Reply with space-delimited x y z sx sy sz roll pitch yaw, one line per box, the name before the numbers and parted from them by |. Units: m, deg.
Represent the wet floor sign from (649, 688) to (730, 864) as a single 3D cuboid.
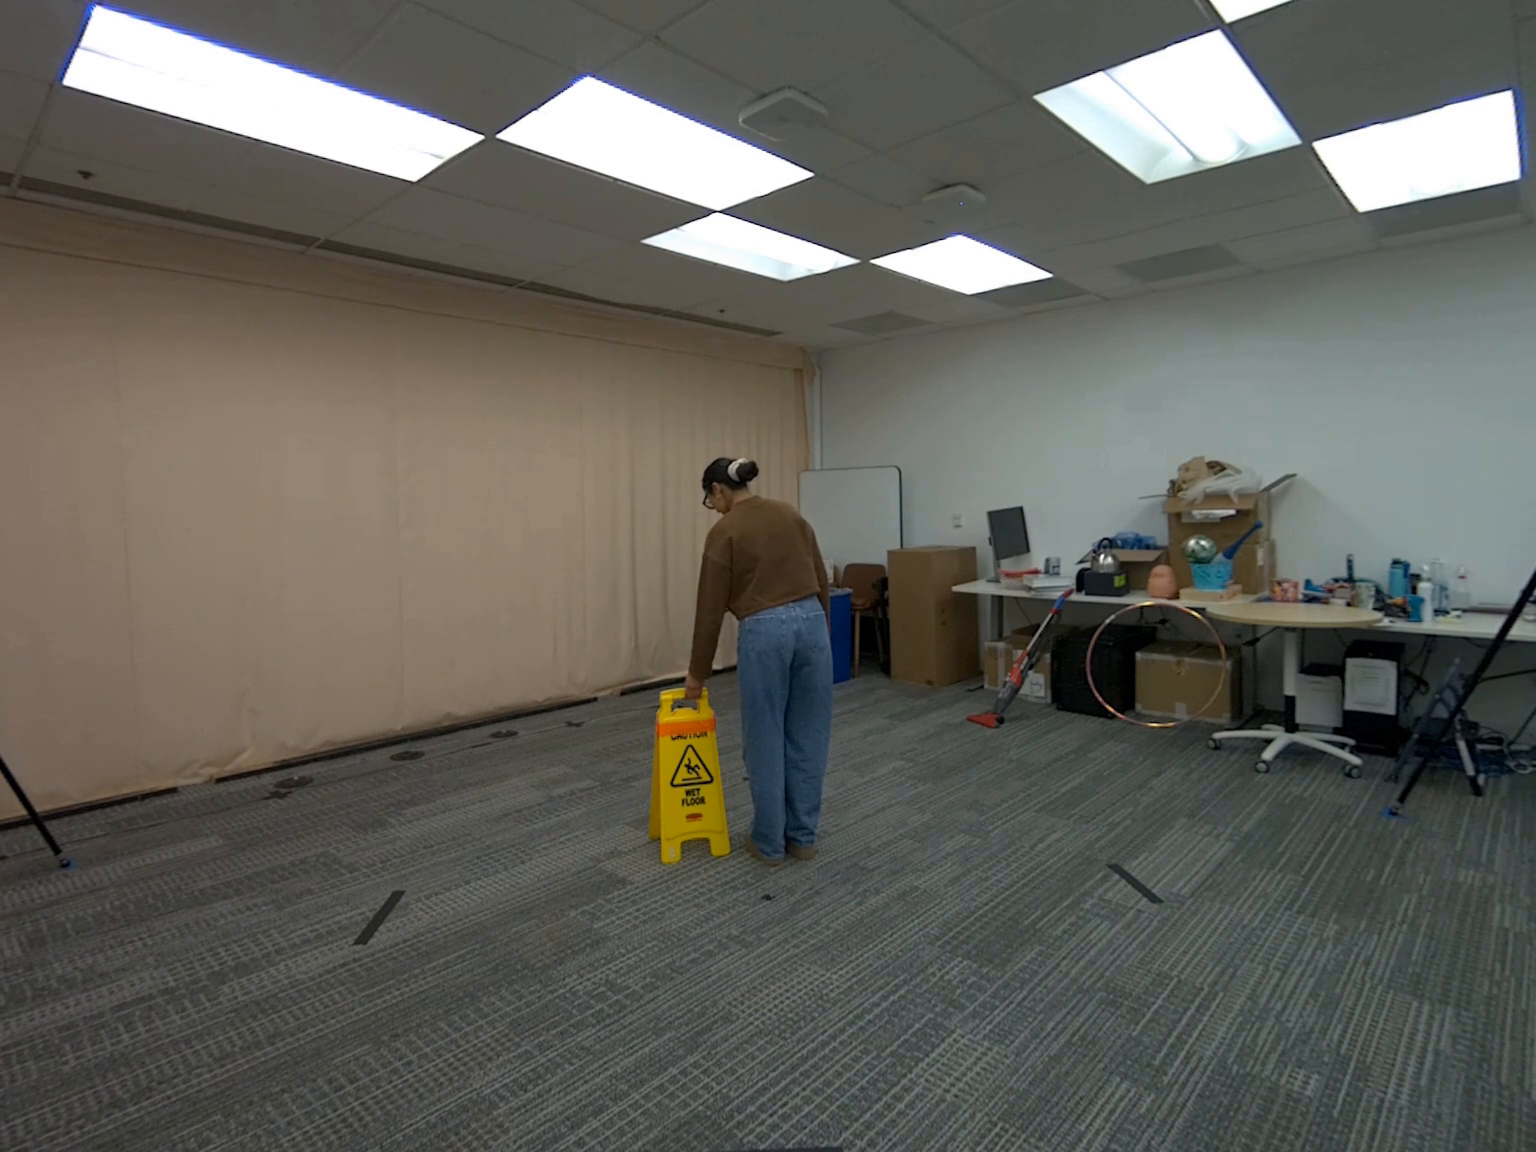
wet floor sign | -0.336 0.784 3.437 0.278 0.645 0.295 -3 3 -16
